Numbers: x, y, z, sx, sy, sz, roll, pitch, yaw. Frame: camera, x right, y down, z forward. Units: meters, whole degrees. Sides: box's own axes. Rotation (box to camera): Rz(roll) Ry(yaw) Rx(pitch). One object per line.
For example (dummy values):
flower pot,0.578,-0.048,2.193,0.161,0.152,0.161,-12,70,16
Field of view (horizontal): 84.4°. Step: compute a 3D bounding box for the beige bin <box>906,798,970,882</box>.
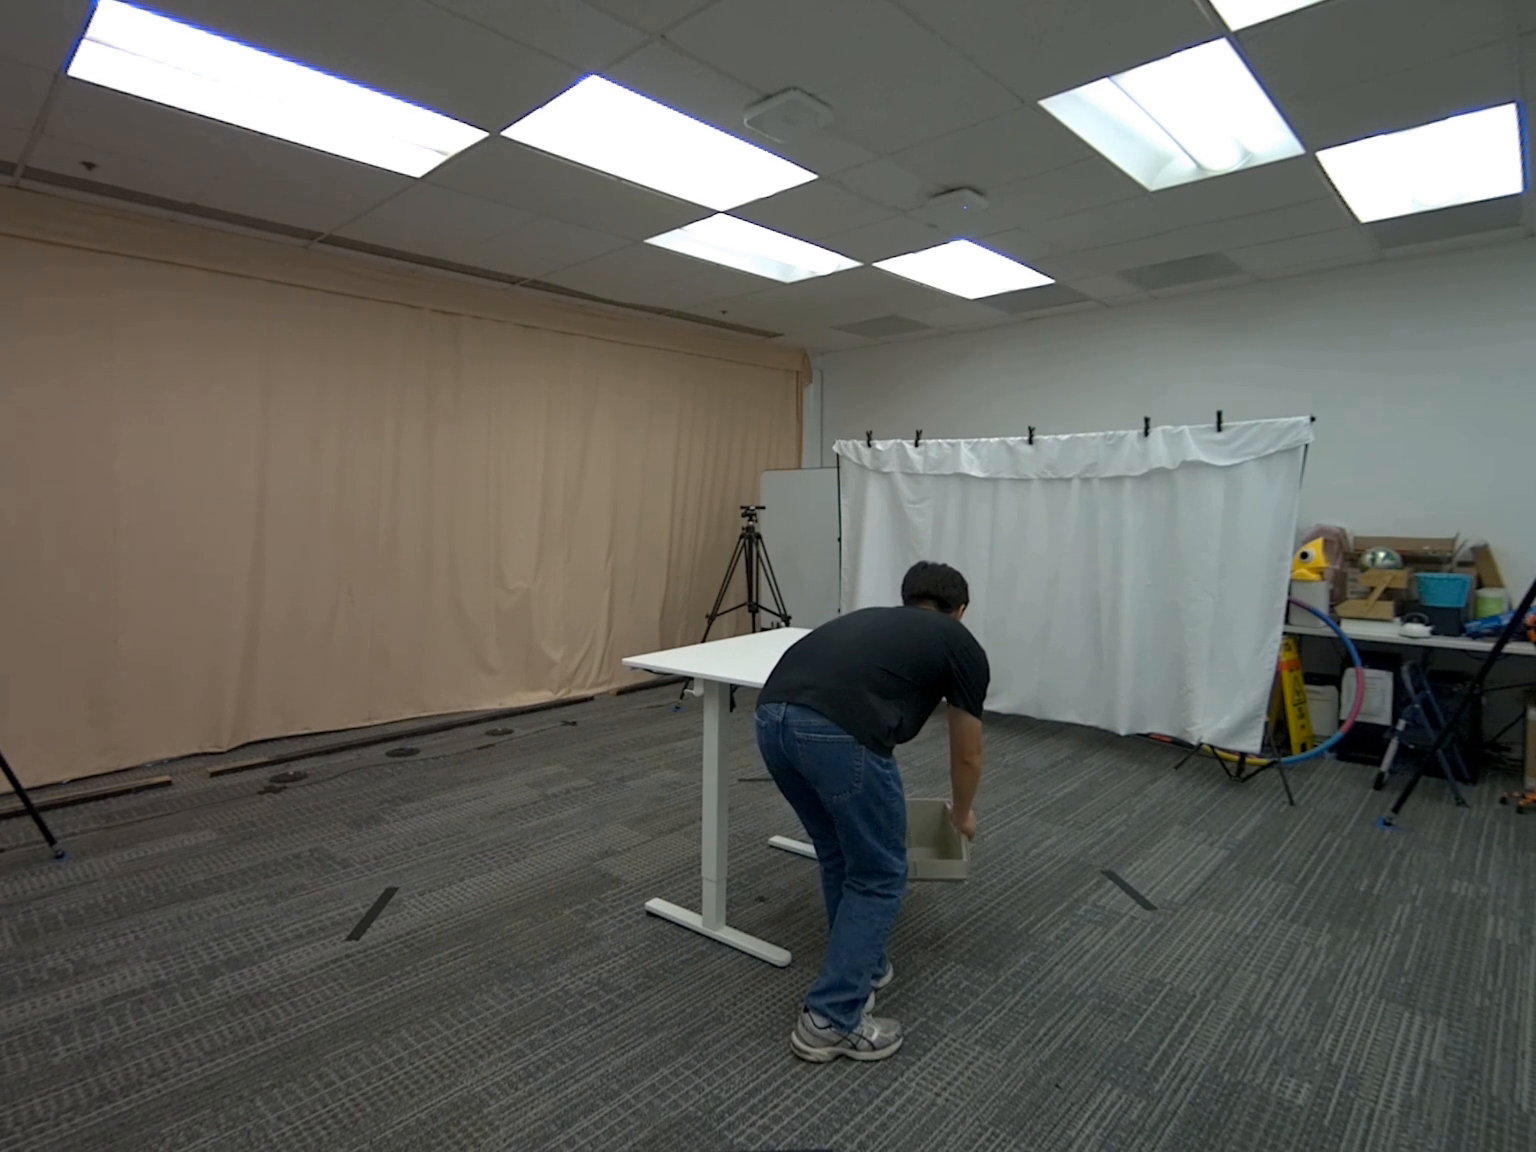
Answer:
beige bin,0.424,0.875,2.748,0.426,0.189,0.374,-2,-2,7
